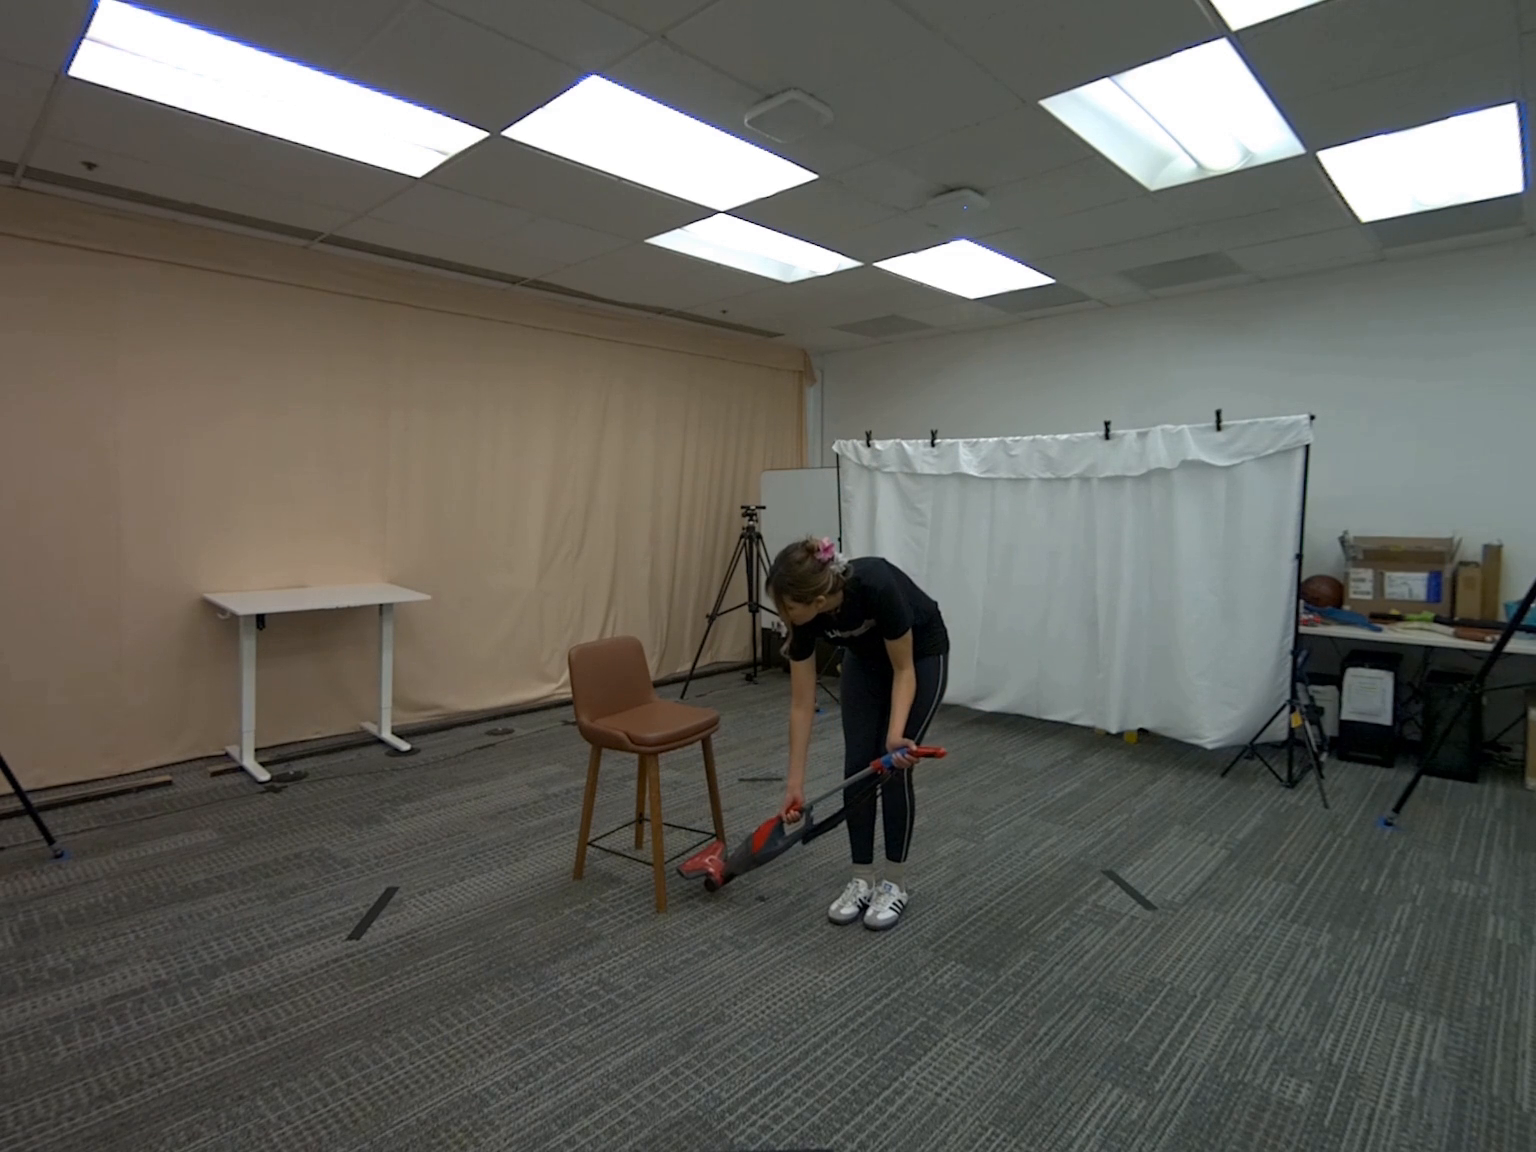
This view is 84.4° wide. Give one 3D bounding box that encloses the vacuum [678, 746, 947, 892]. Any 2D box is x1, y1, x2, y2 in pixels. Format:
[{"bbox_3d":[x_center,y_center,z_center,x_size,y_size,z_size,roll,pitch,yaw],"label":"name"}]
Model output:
[{"bbox_3d":[0.145,0.788,2.717,1.062,0.146,0.245,-37,-19,33],"label":"vacuum"}]
